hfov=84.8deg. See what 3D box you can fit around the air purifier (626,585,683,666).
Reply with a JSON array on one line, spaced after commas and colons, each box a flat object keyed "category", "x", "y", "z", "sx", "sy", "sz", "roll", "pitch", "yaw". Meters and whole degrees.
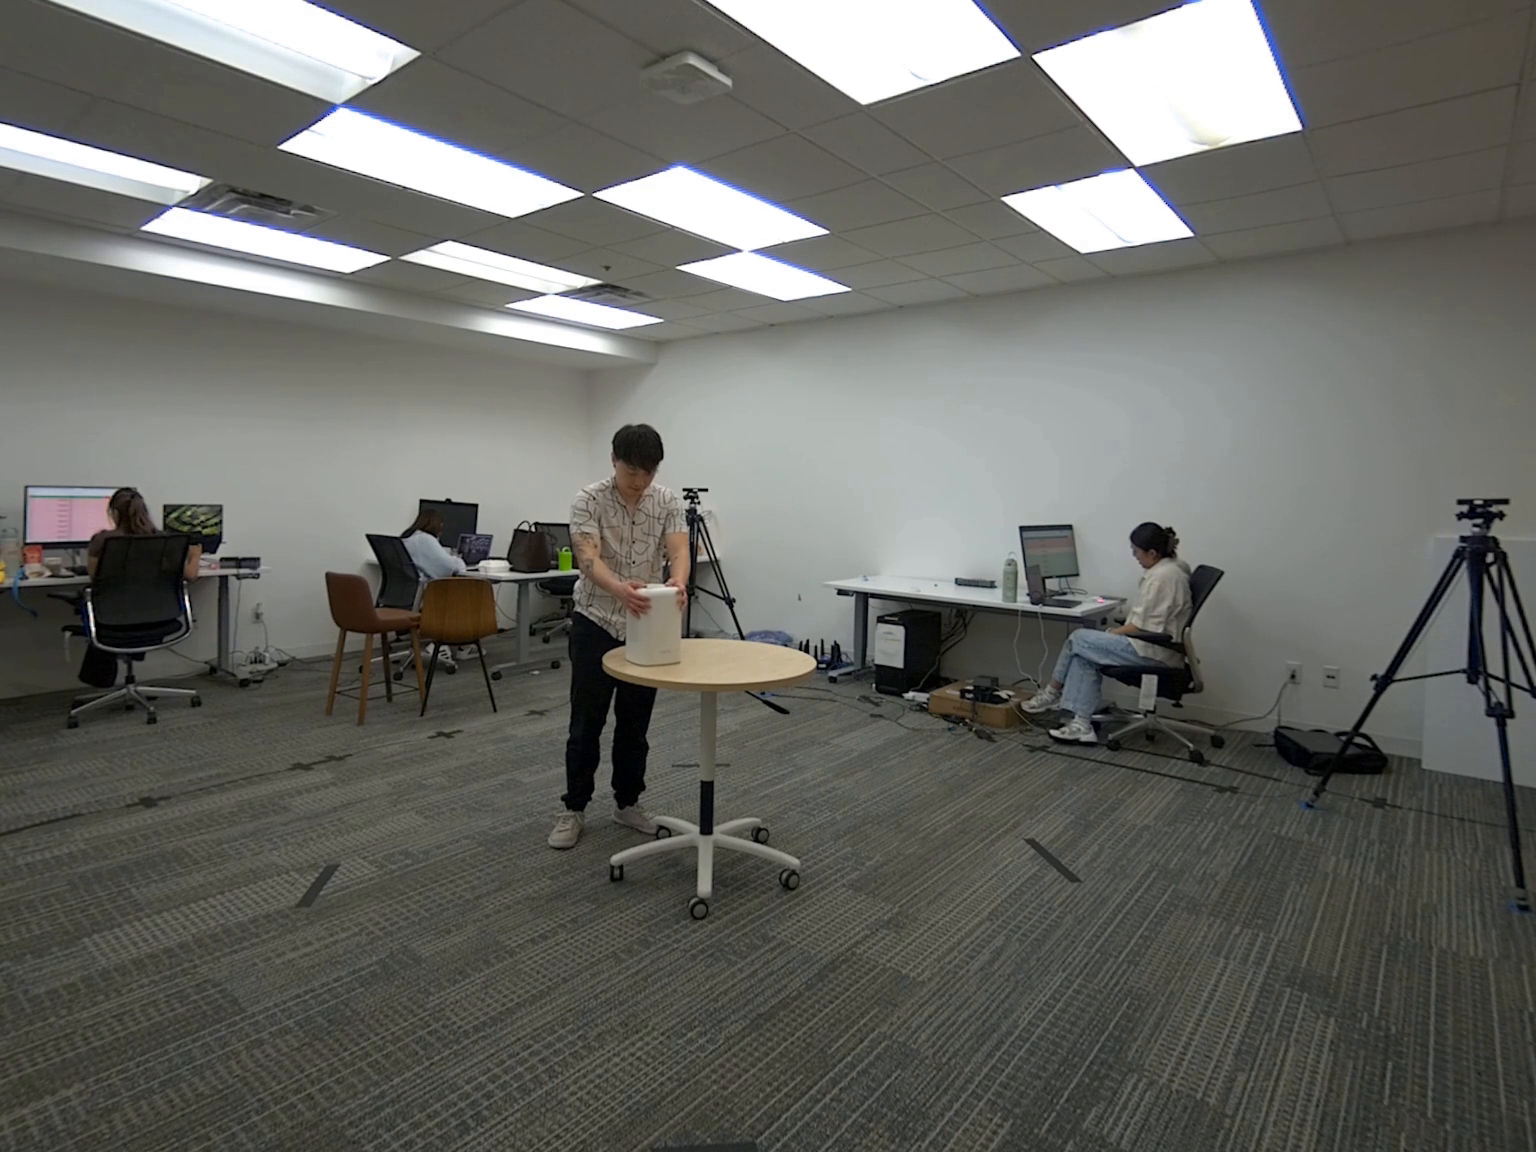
[{"category": "air purifier", "x": -0.411, "y": 0.164, "z": 2.992, "sx": 0.166, "sy": 0.264, "sz": 0.177, "roll": -2, "pitch": 5, "yaw": -32}]
